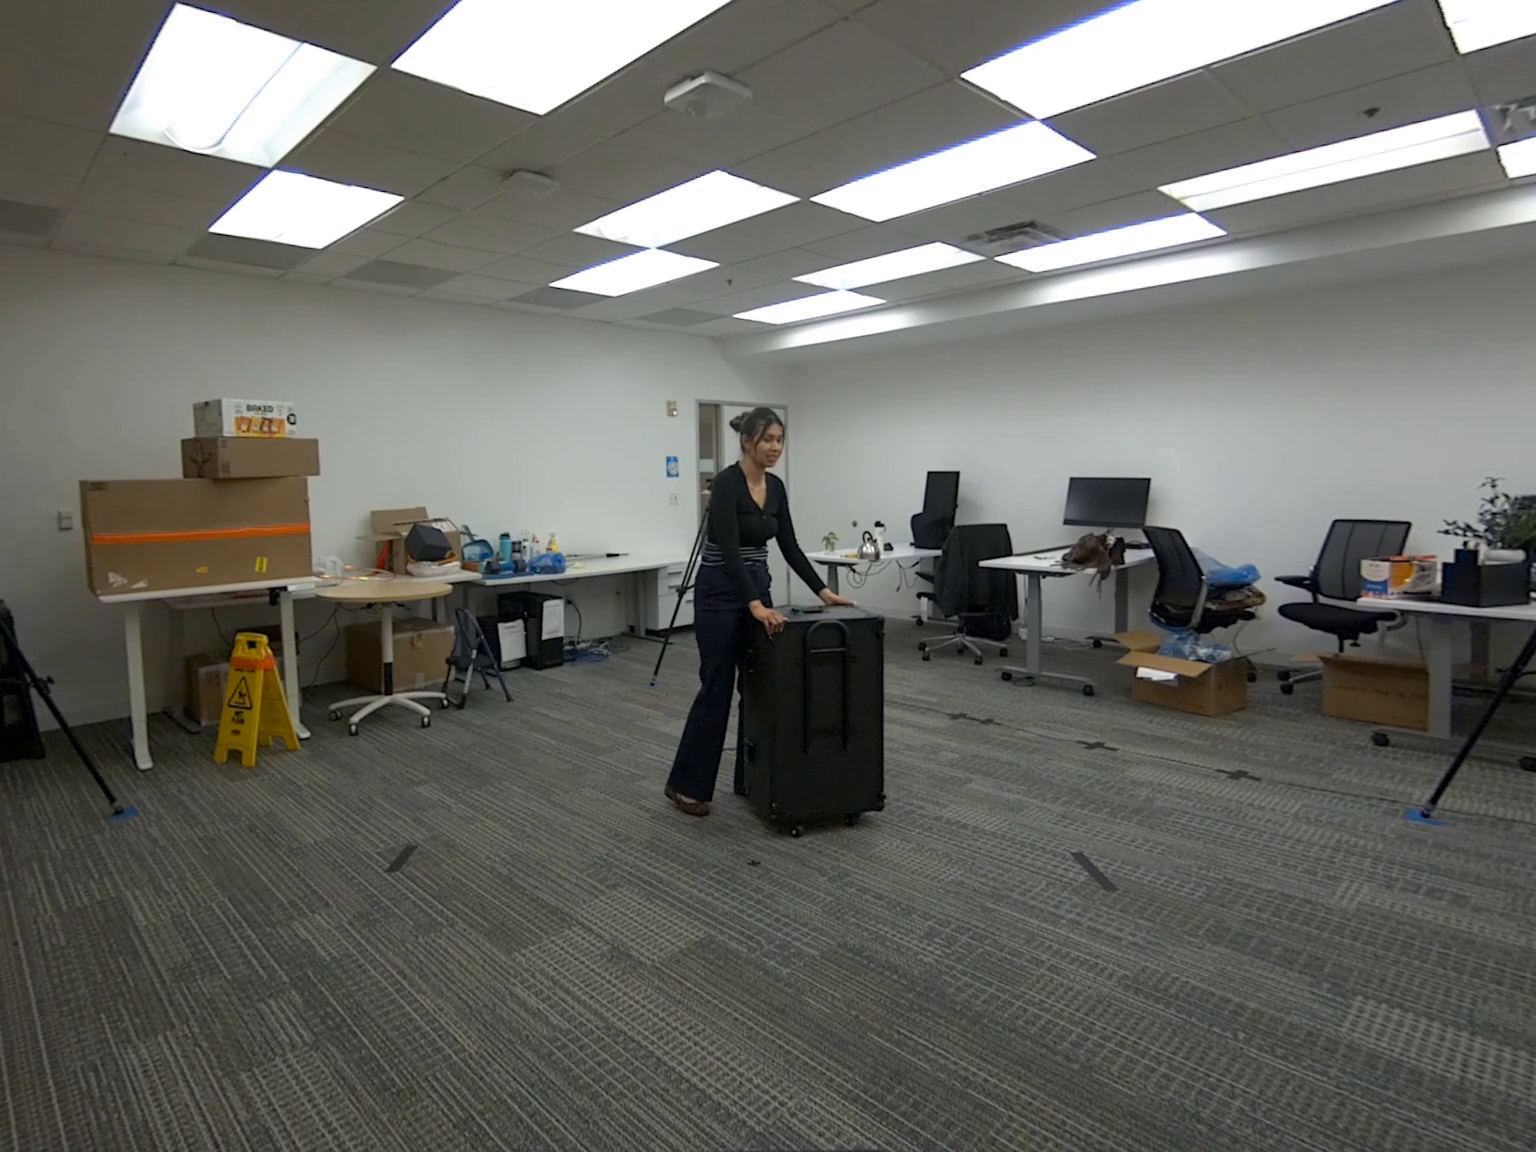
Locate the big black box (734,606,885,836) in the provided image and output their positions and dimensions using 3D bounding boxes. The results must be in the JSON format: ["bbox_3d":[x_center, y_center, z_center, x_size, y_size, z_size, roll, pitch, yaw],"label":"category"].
[{"bbox_3d":[0.187,0.571,3.477,0.513,0.858,0.404,-2,5,-17],"label":"big black box"}]
